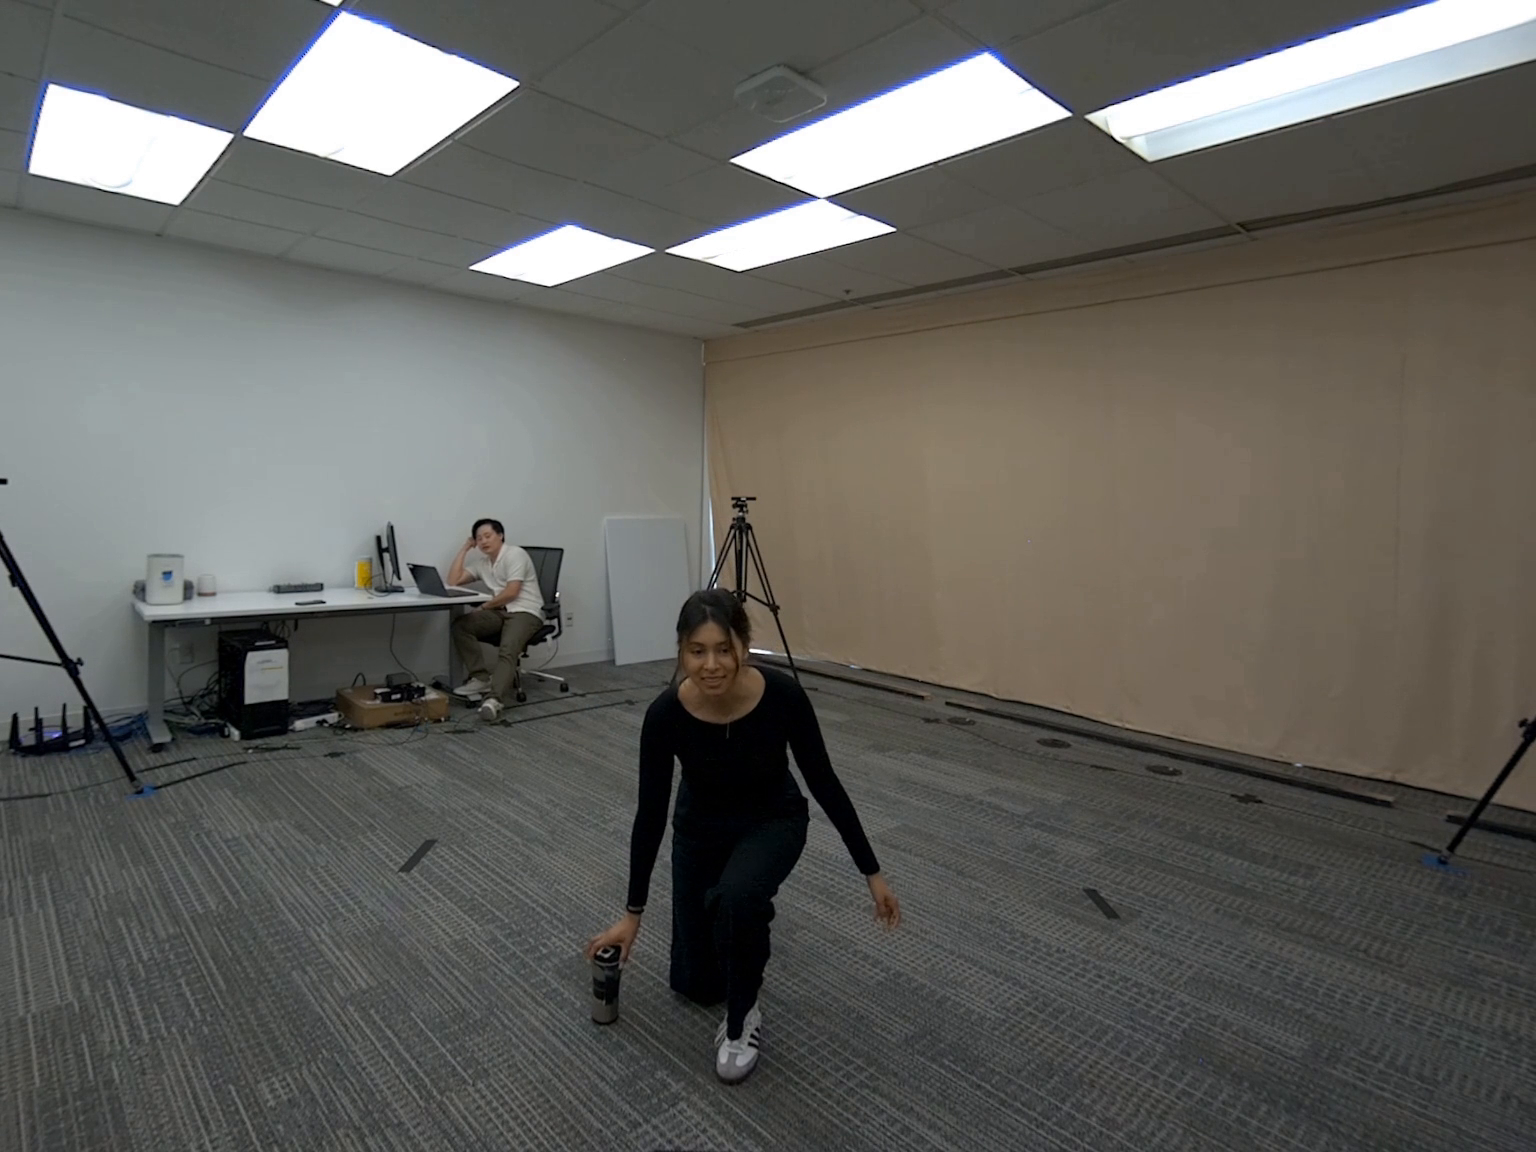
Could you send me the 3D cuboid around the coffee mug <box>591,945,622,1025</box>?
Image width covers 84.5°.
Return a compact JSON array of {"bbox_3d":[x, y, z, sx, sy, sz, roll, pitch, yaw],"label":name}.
[{"bbox_3d":[-0.449,1.091,2.204,0.089,0.202,0.121,5,10,14],"label":"coffee mug"}]
